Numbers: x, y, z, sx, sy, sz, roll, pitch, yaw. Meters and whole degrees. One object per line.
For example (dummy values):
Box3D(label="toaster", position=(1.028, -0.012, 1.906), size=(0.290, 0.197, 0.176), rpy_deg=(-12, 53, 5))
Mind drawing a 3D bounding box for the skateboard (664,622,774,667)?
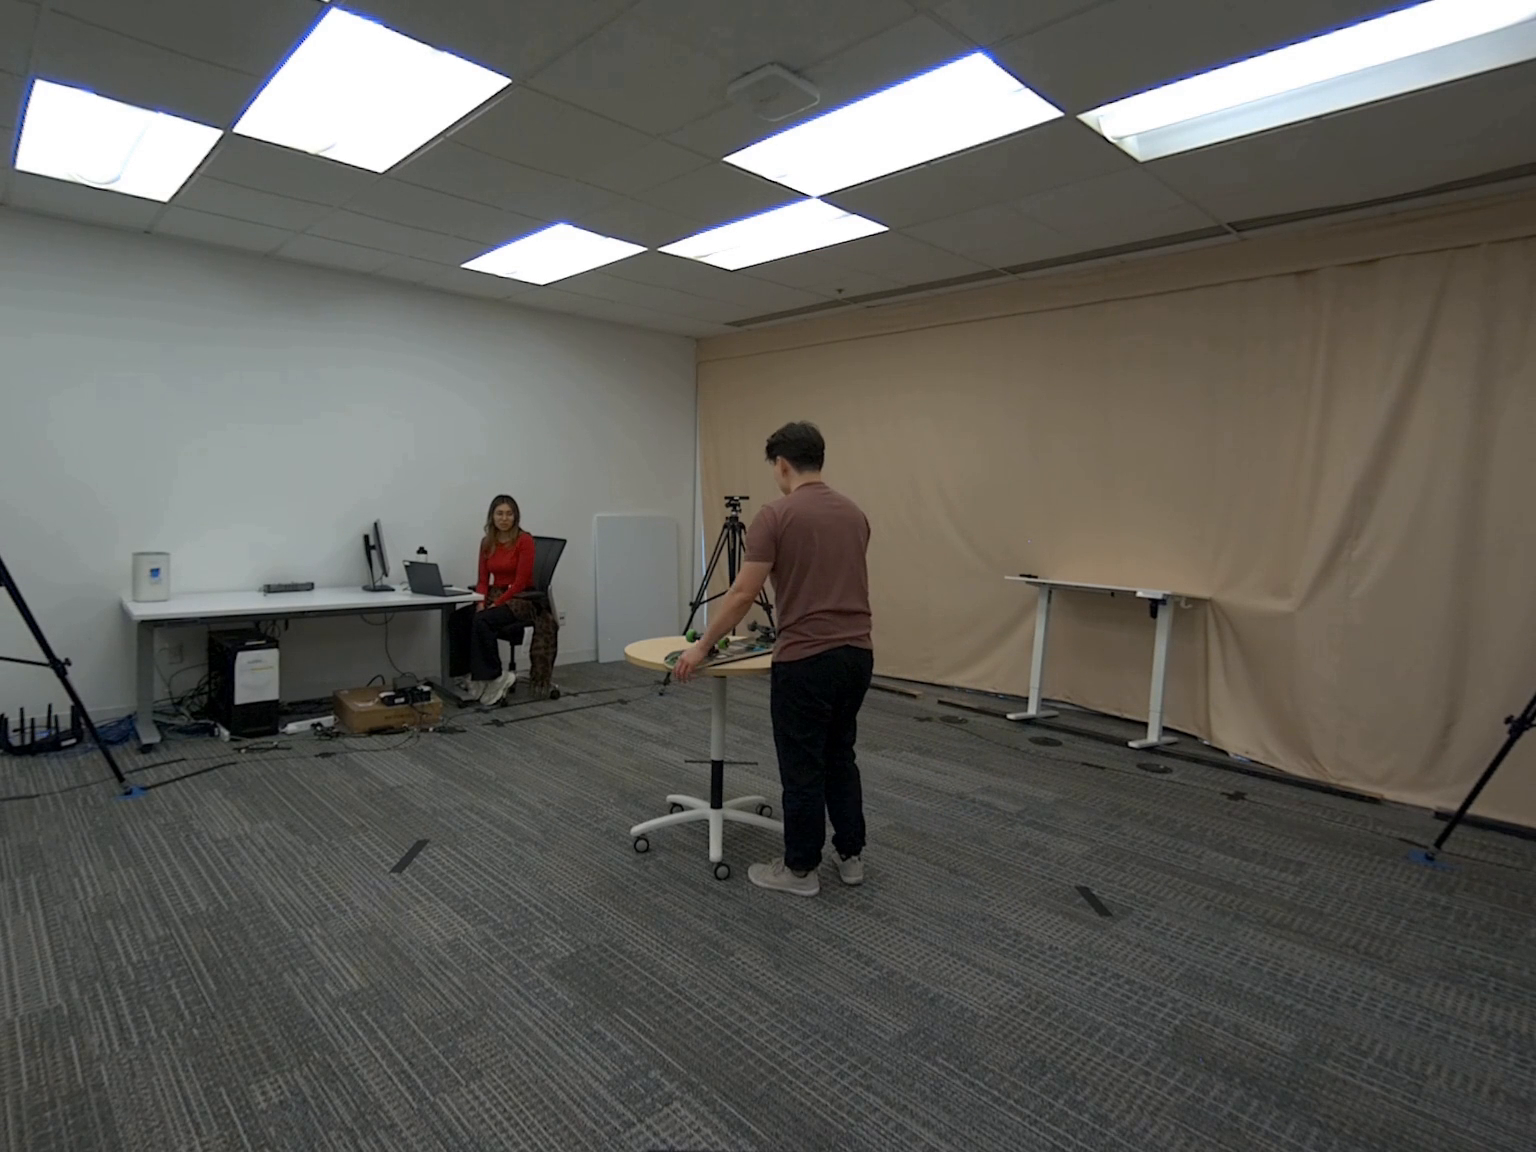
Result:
Box3D(label="skateboard", position=(-0.122, 0.252, 3.292), size=(0.198, 0.110, 0.768), rpy_deg=(5, 6, 36))
